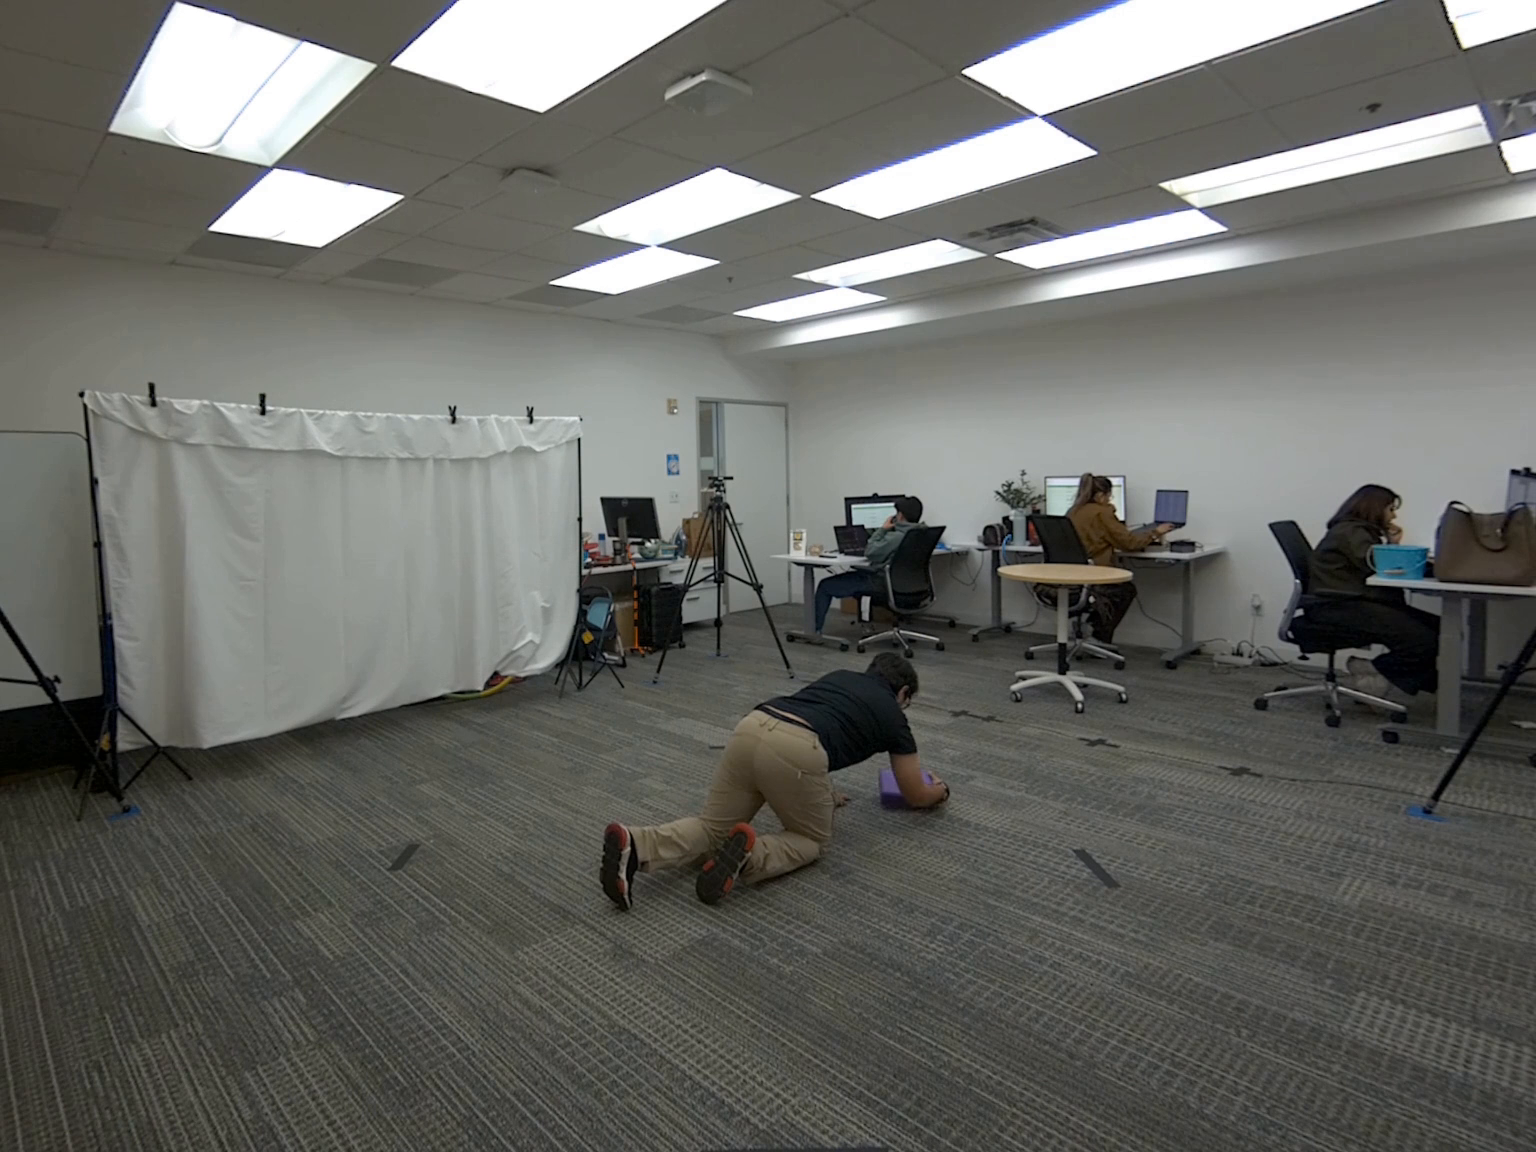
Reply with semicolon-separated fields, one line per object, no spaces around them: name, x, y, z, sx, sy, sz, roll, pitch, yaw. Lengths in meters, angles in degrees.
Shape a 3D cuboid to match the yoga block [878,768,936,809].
yoga block;0.595;0.905;3.600;0.230;0.075;0.151;2;29;5
